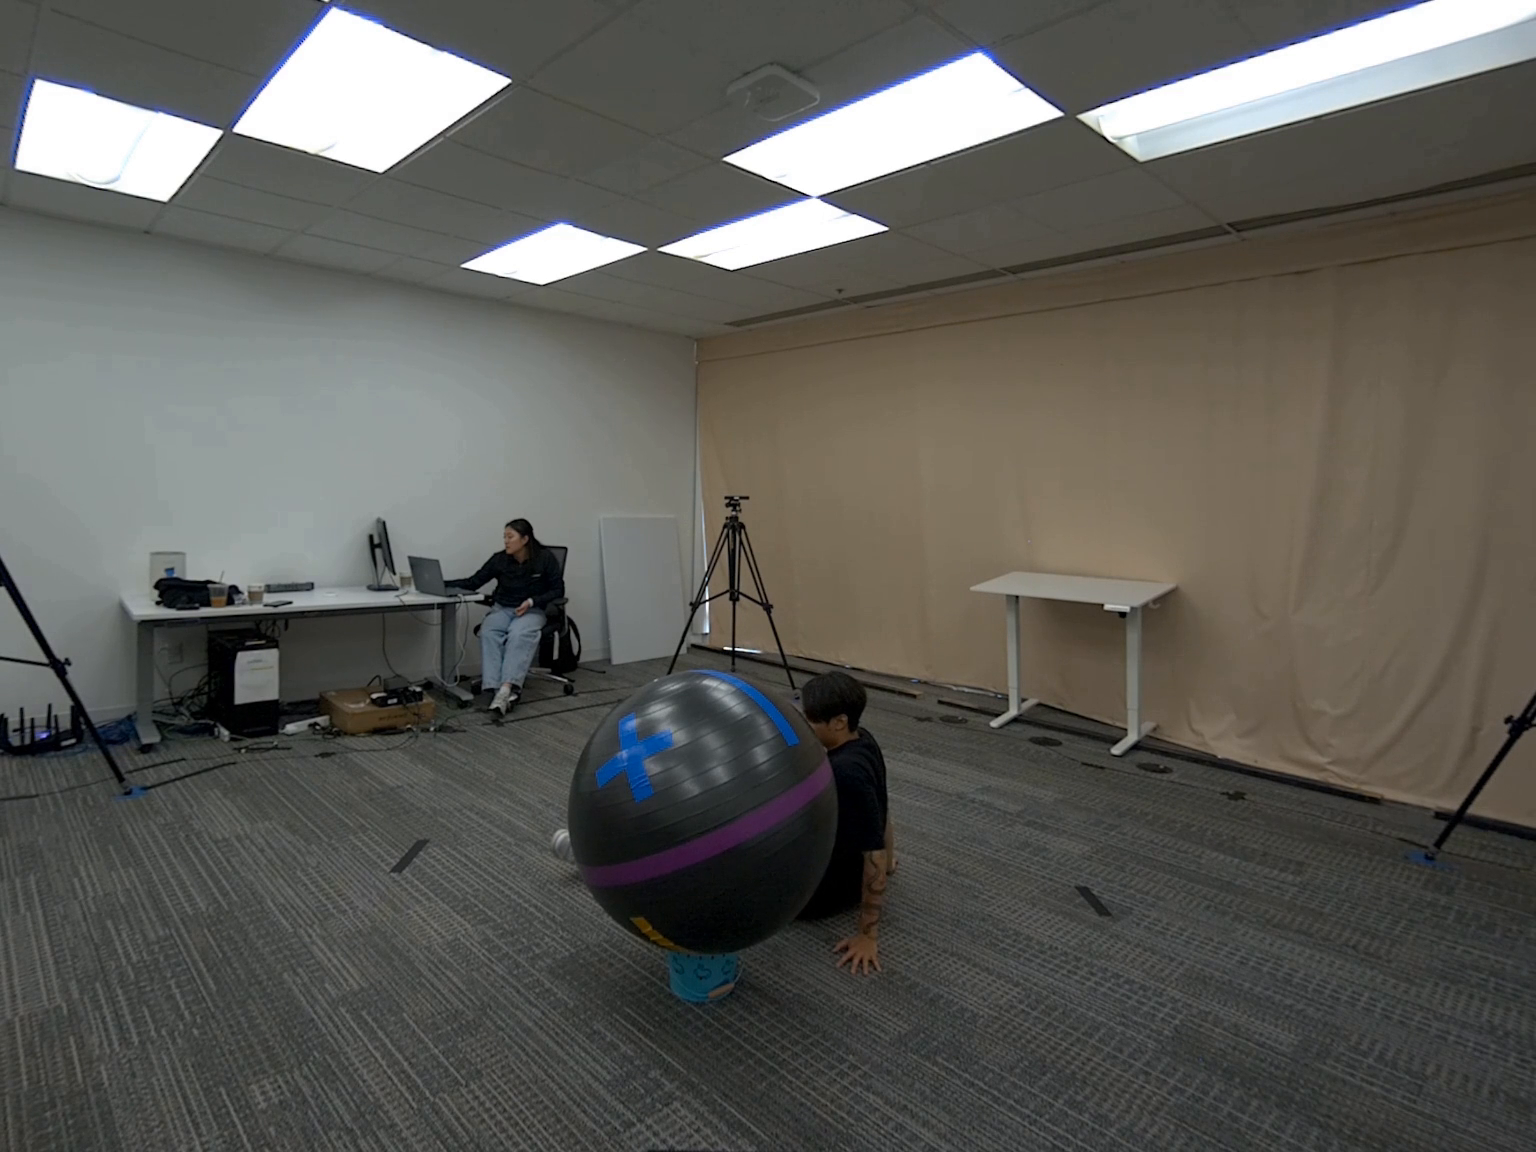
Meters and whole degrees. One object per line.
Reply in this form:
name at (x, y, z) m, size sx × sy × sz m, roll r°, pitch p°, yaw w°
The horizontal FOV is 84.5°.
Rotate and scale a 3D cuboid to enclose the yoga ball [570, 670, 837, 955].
yoga ball at (-0.185, 0.664, 2.373) m, size 0.757 × 0.756 × 0.761 m, roll 1°, pitch 4°, yaw -1°
